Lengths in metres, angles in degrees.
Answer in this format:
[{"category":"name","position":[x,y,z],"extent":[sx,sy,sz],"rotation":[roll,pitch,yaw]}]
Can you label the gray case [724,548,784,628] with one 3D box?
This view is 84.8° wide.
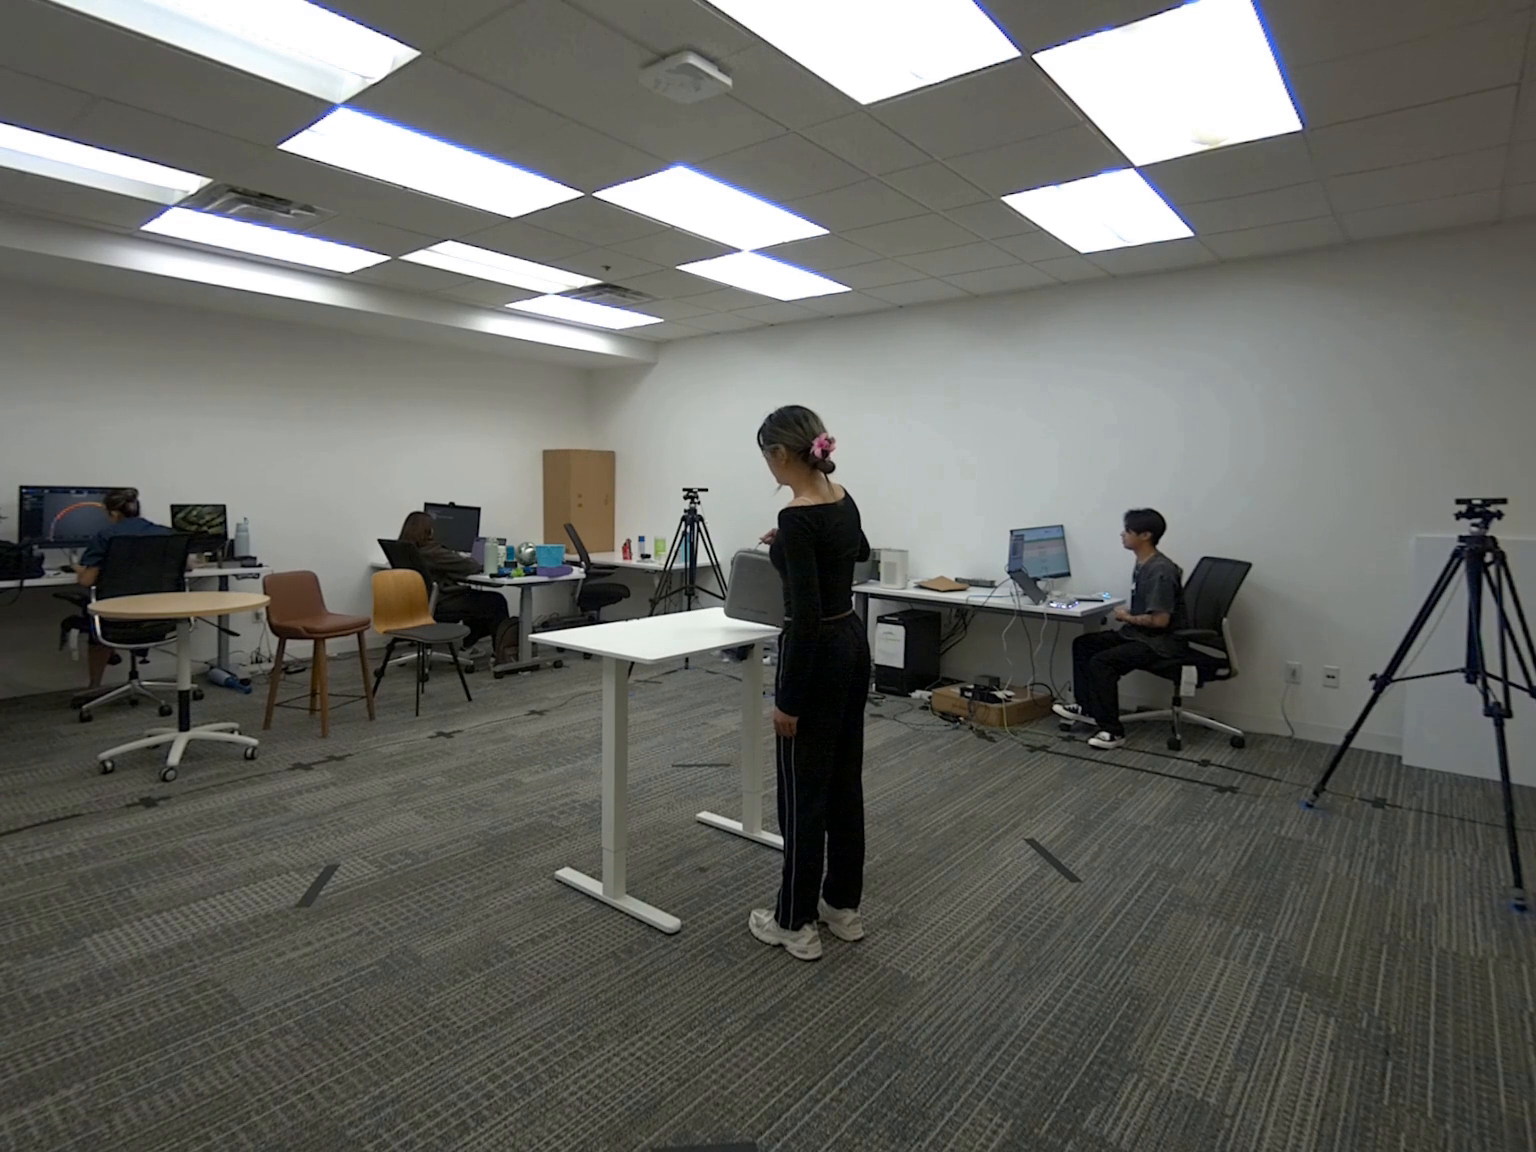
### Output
[{"category":"gray case","position":[-0.020,0.036,3.030],"extent":[0.257,0.259,0.105],"rotation":[11,9,0]}]
